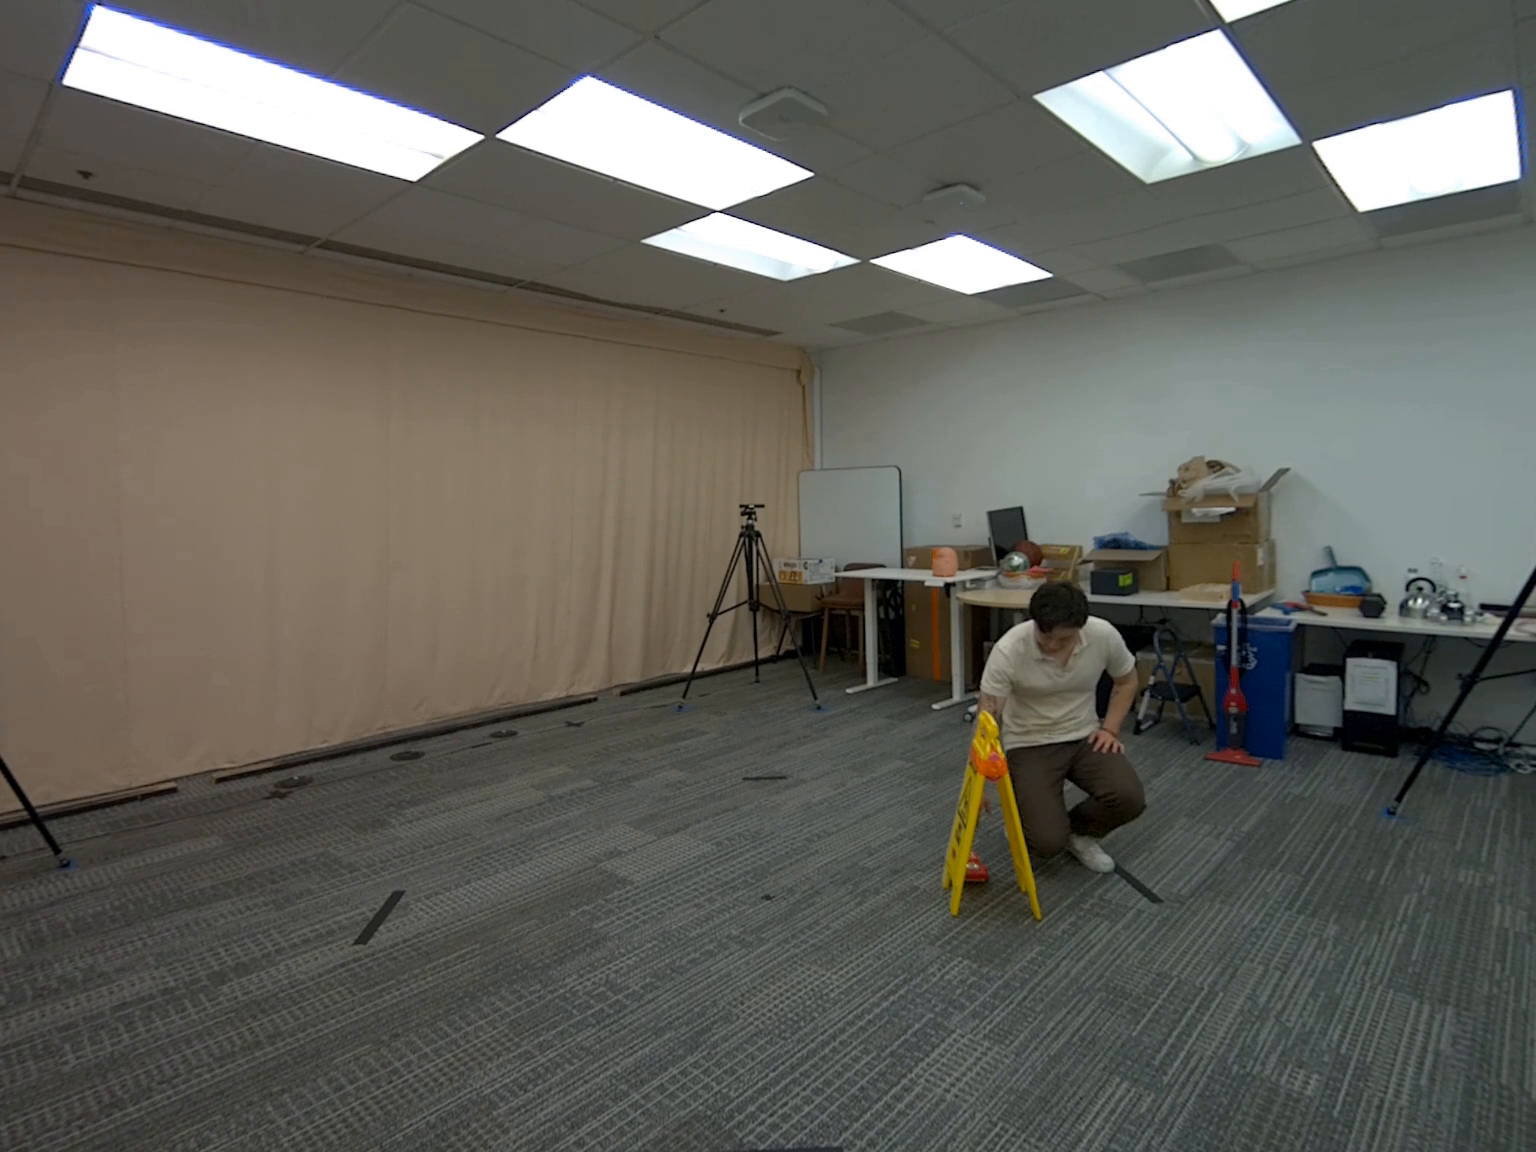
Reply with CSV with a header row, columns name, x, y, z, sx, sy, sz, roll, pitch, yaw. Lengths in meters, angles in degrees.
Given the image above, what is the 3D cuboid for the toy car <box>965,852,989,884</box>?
name,x,y,z,sx,sy,sz,roll,pitch,yaw
toy car,0.758,1.087,3.138,0.130,0.083,0.253,0,-6,0
